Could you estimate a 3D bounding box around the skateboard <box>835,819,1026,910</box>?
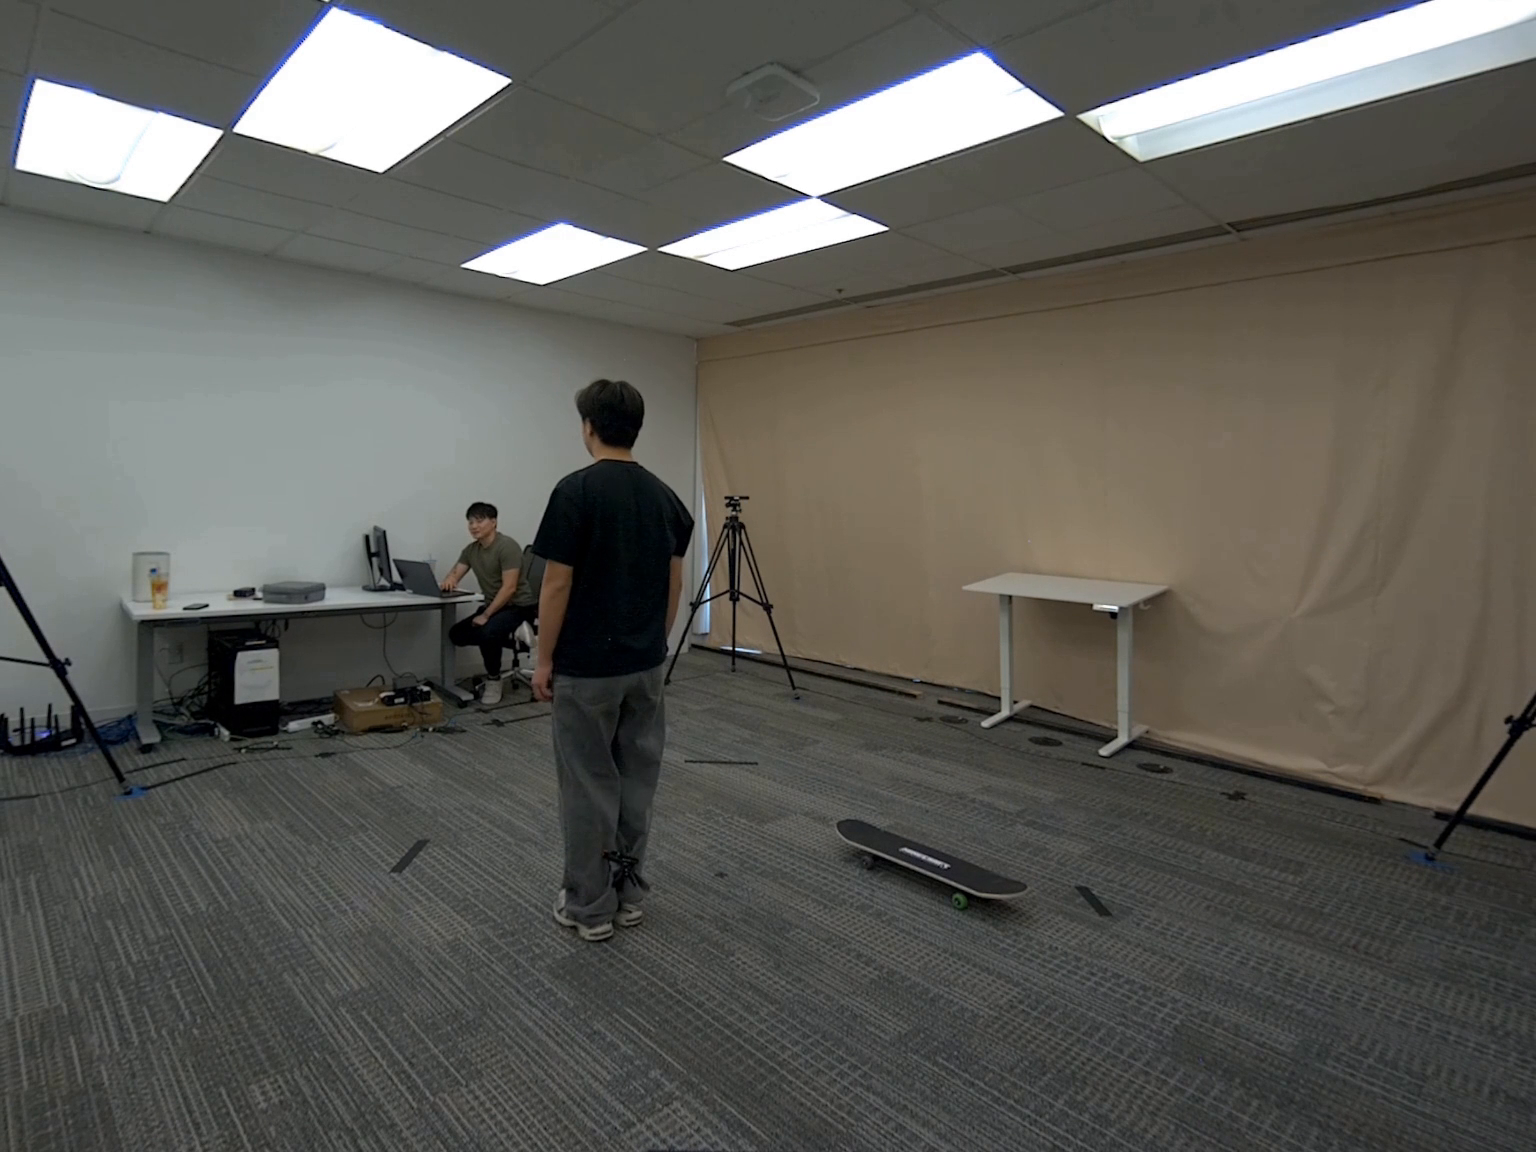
[{"bbox_3d":[0.568,1.070,3.091,0.189,0.110,0.806,-2,7,-44],"label":"skateboard"}]
